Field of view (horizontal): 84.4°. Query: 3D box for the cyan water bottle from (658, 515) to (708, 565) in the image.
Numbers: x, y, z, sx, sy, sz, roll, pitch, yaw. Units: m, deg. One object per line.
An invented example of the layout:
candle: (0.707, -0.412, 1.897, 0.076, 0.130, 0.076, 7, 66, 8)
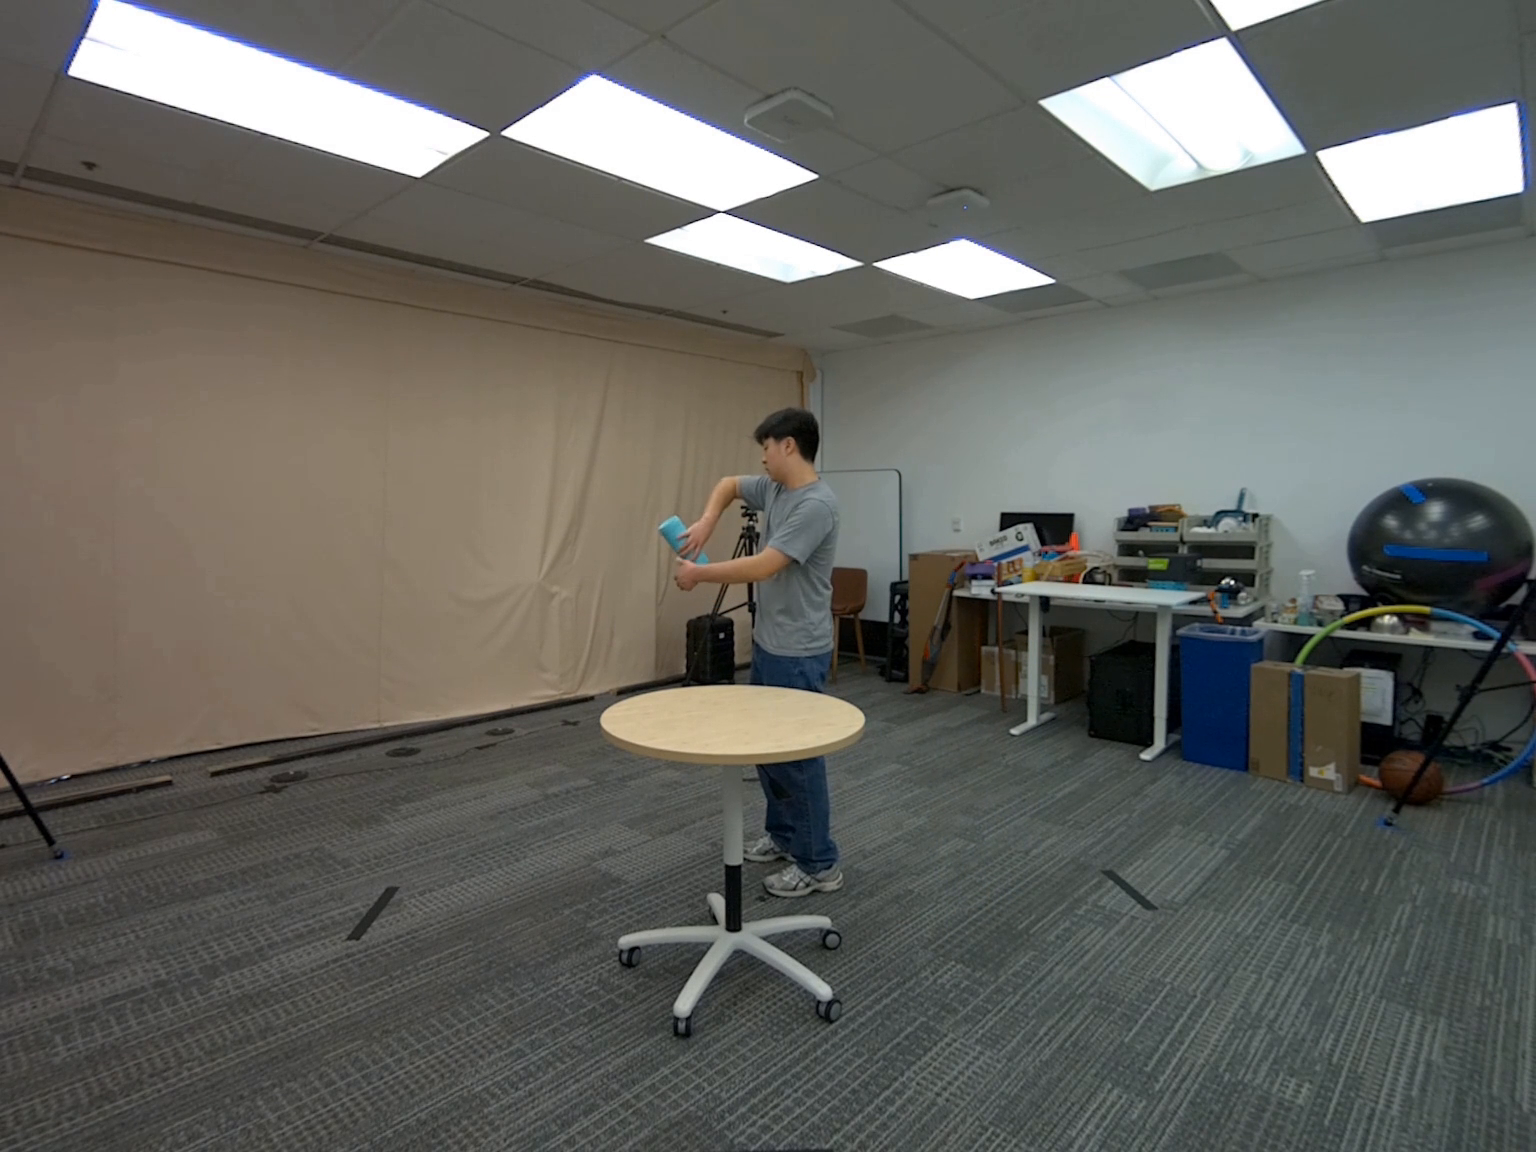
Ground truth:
cyan water bottle: (-0.302, -0.092, 3.234, 0.092, 0.280, 0.093, -35, 11, 6)
